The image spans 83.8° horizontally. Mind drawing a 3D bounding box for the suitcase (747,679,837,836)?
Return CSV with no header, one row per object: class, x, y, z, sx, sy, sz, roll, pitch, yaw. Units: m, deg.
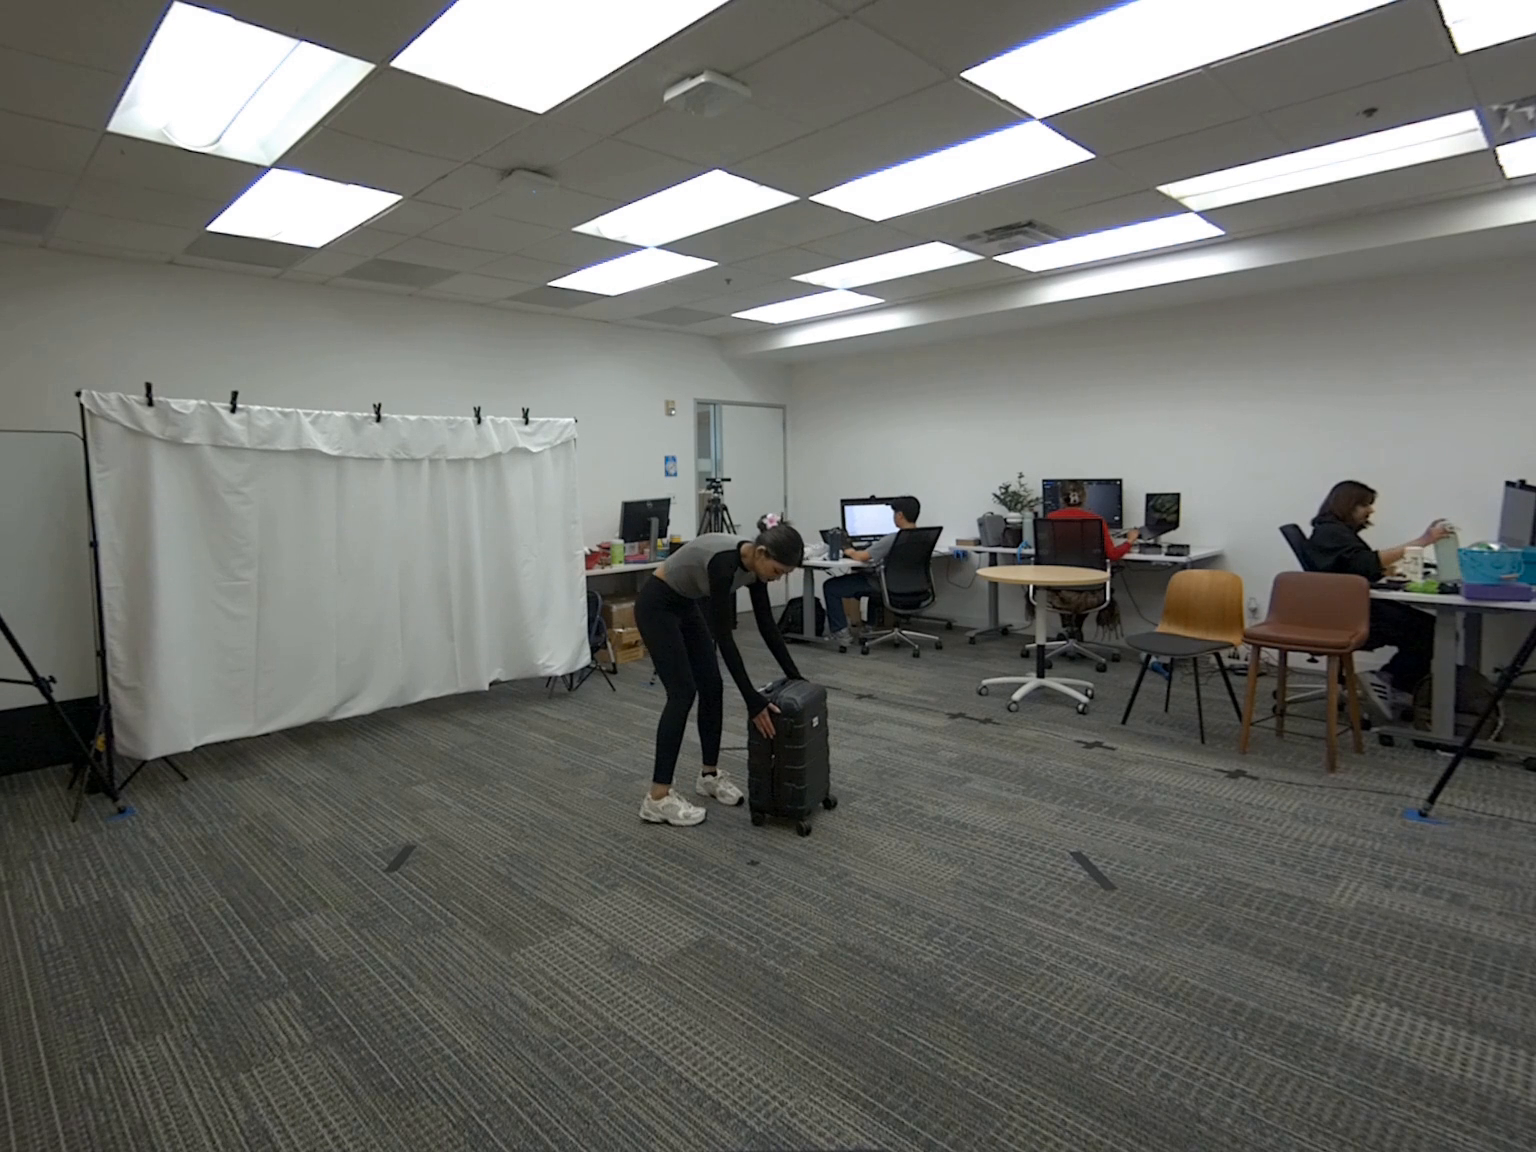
suitcase,0.091,0.719,3.524,0.254,0.547,0.368,0,4,25
